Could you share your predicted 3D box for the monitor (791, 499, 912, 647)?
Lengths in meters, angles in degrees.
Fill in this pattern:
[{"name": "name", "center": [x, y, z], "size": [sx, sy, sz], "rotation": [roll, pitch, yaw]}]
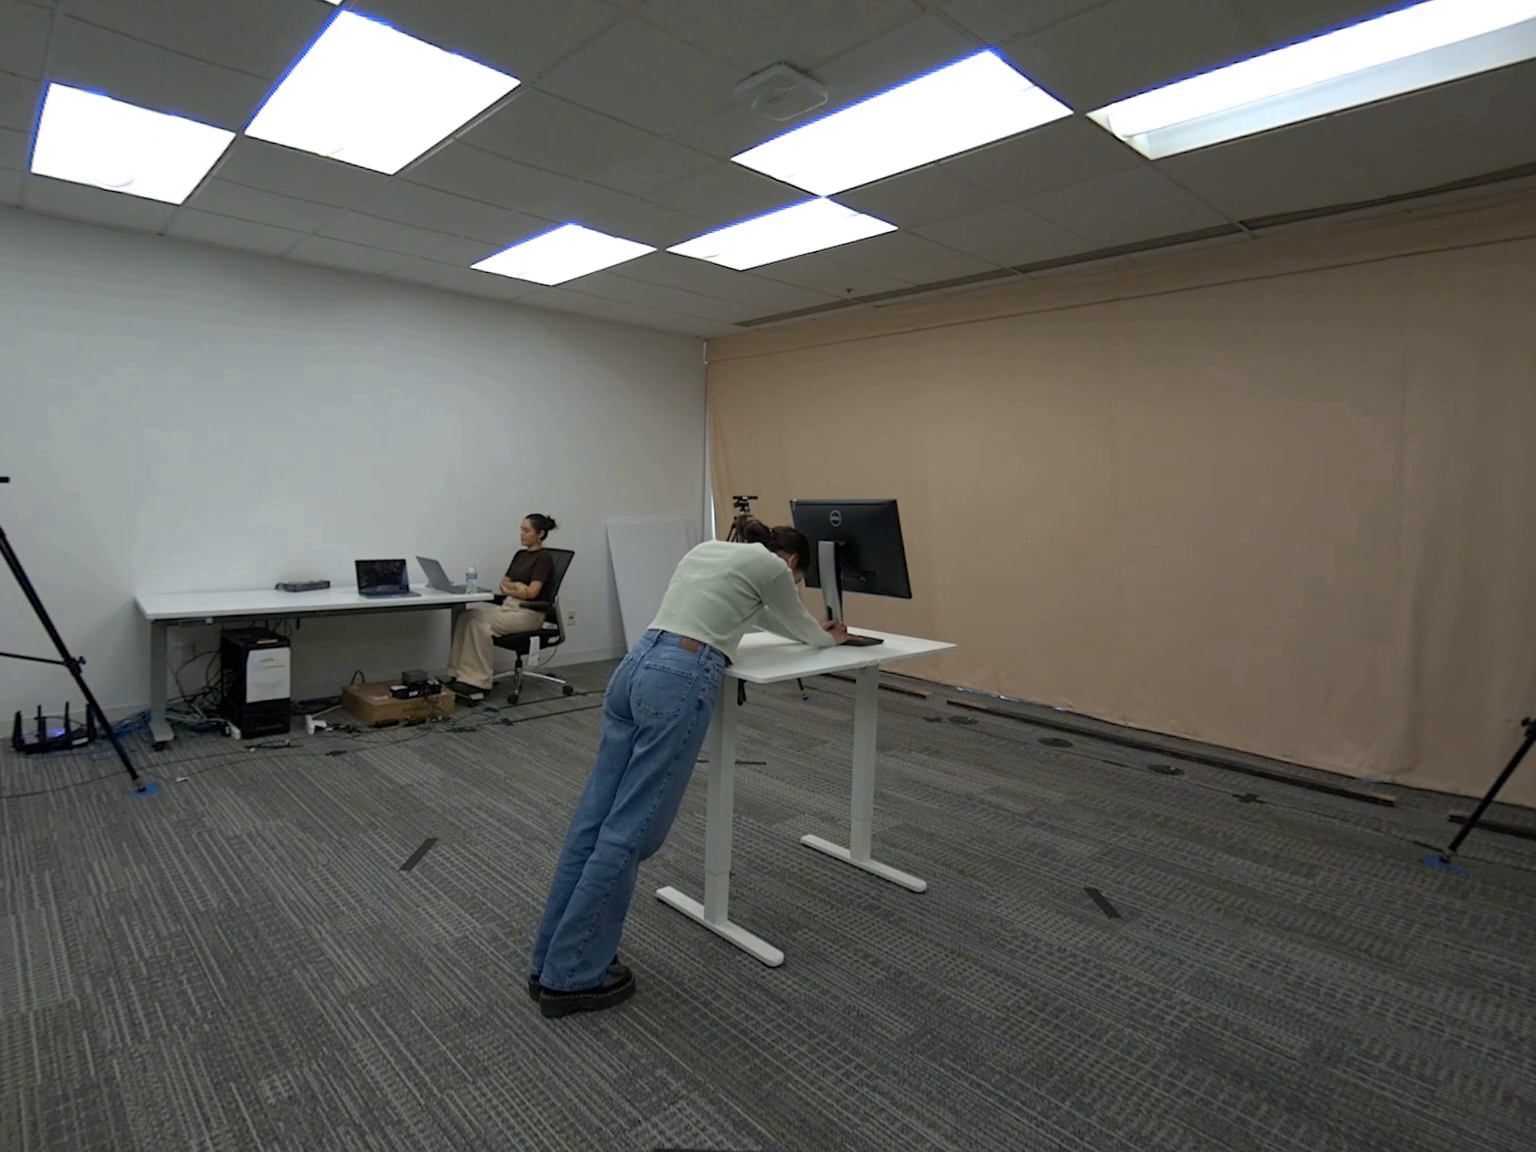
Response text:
[{"name": "monitor", "center": [0.264, -0.017, 3.056], "size": [0.183, 0.521, 0.552], "rotation": [-4, 6, -40]}]
